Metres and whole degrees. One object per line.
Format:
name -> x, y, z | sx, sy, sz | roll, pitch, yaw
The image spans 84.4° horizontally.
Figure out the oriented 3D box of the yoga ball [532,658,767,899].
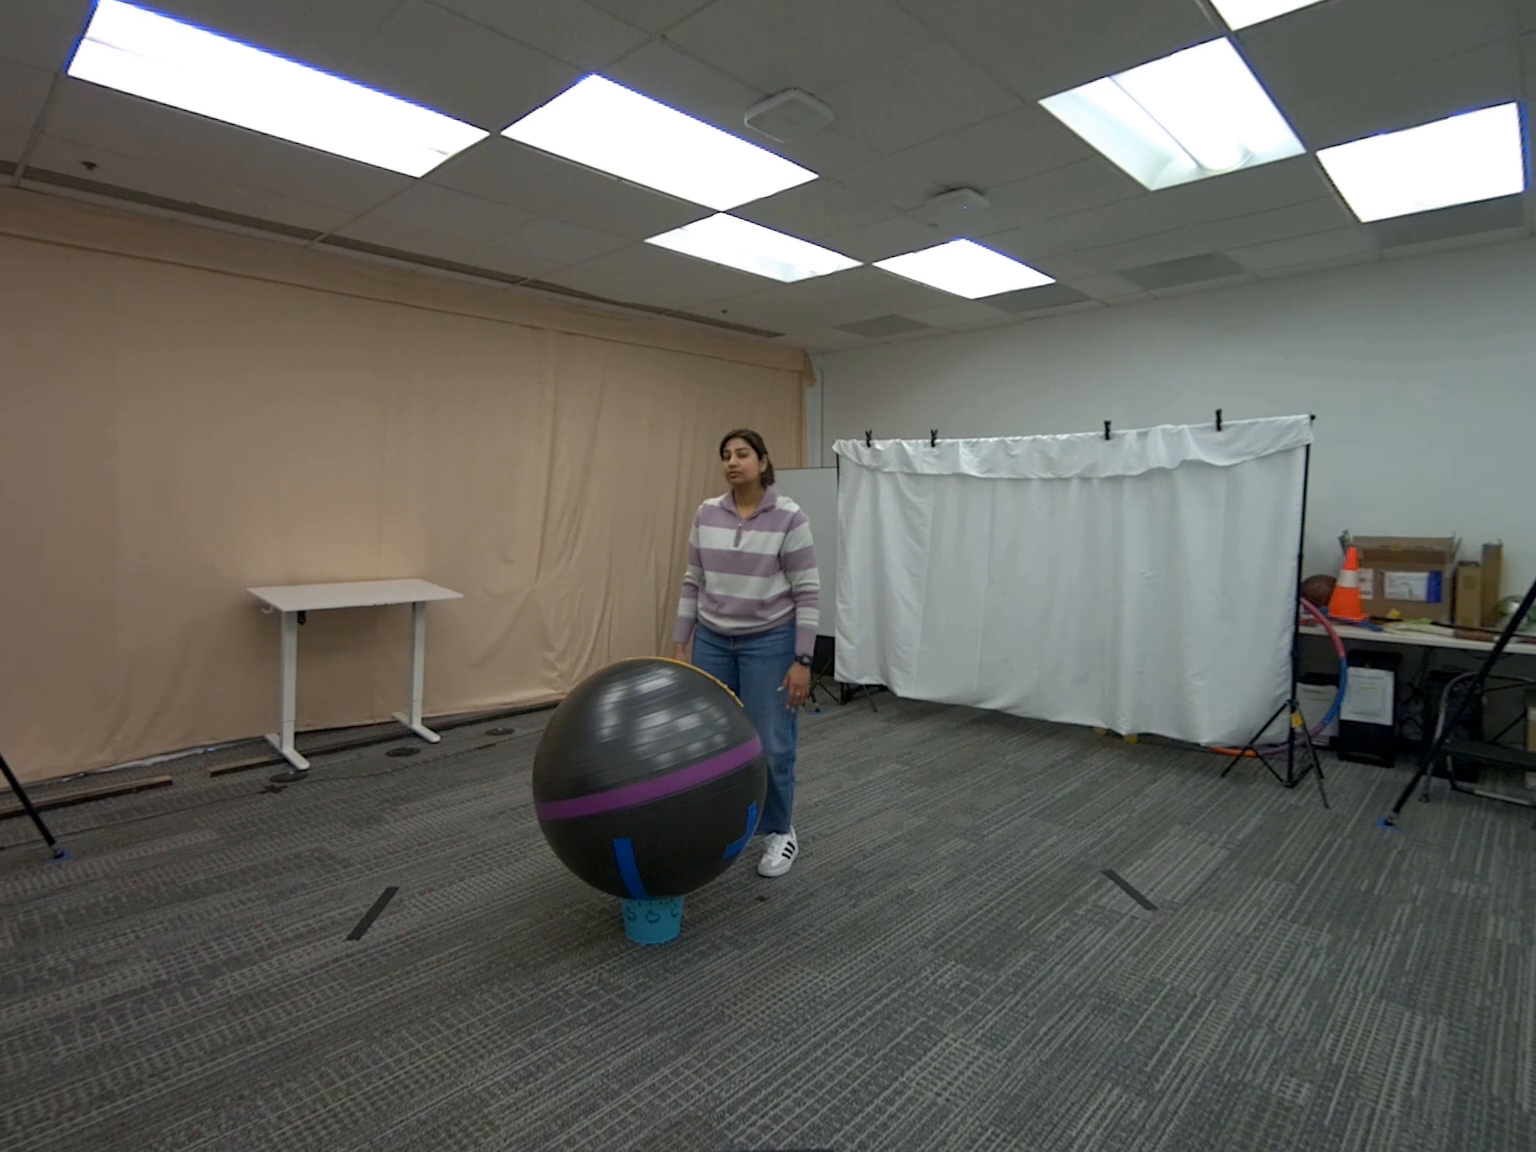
yoga ball -> -0.396, 0.658, 2.741 | 0.757, 0.756, 0.760 | 0, 4, -2
